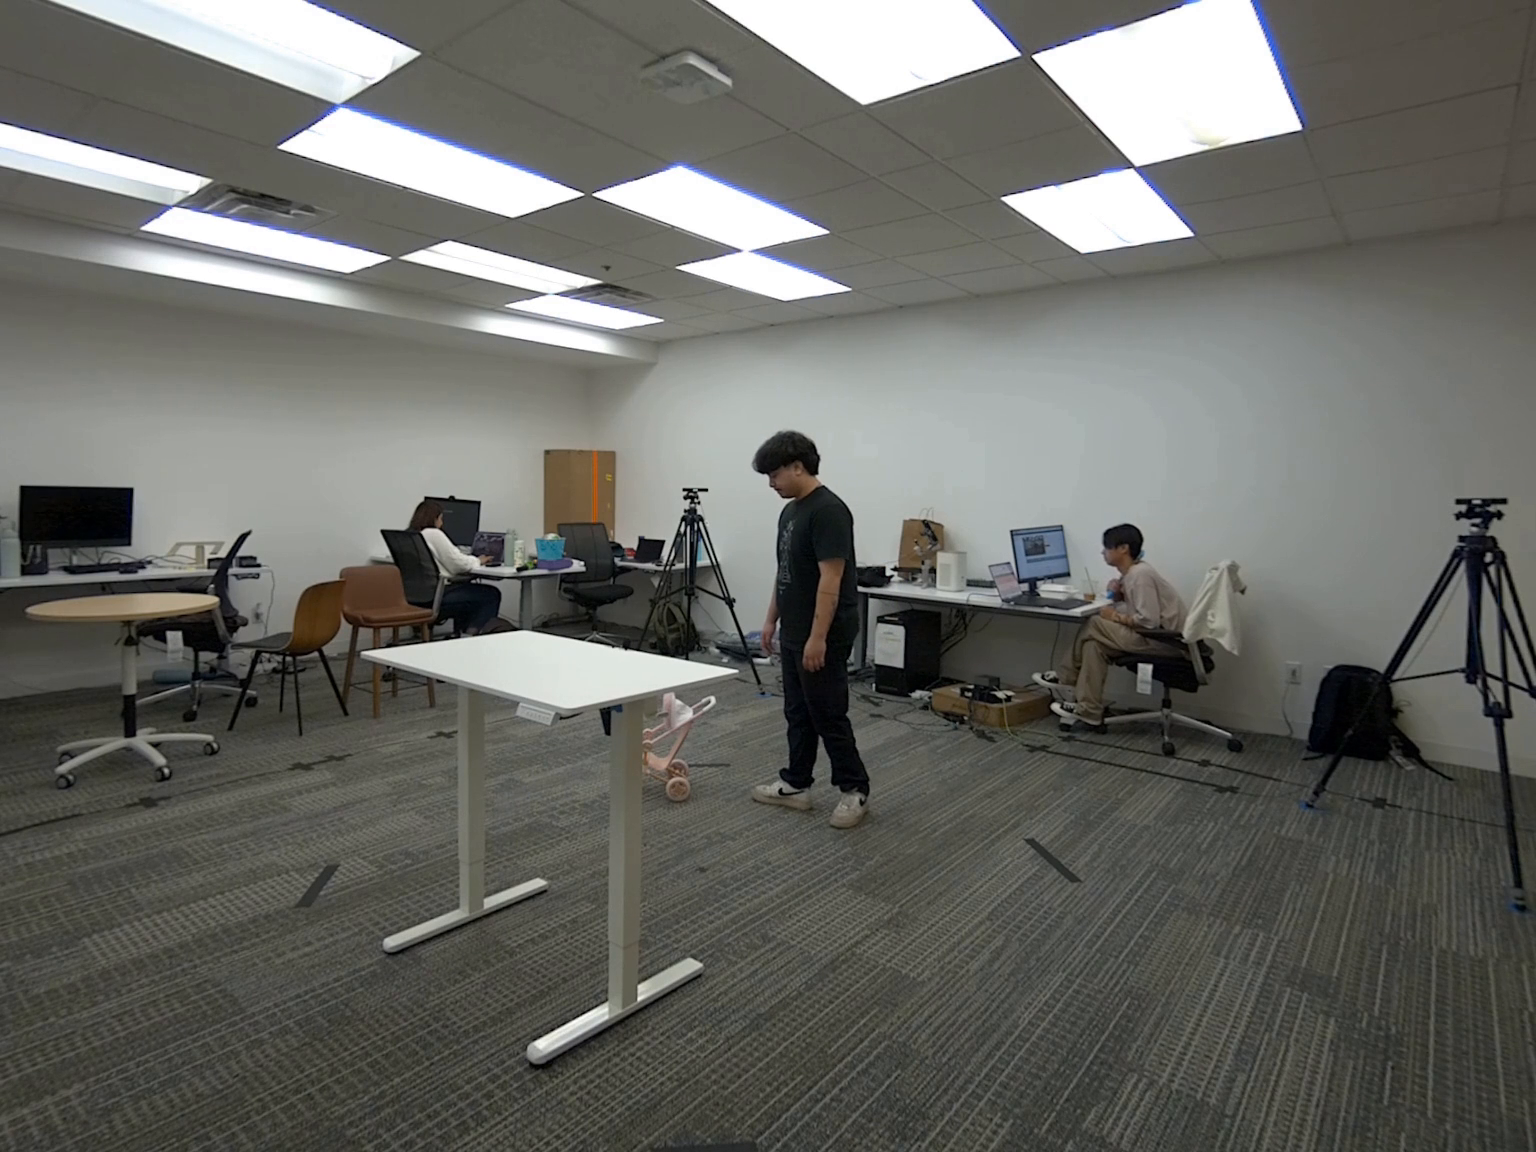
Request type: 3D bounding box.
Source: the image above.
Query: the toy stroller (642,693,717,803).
[{"bbox_3d":[-0.488,0.768,3.913,0.342,0.534,0.282,16,2,0],"label":"toy stroller"}]
